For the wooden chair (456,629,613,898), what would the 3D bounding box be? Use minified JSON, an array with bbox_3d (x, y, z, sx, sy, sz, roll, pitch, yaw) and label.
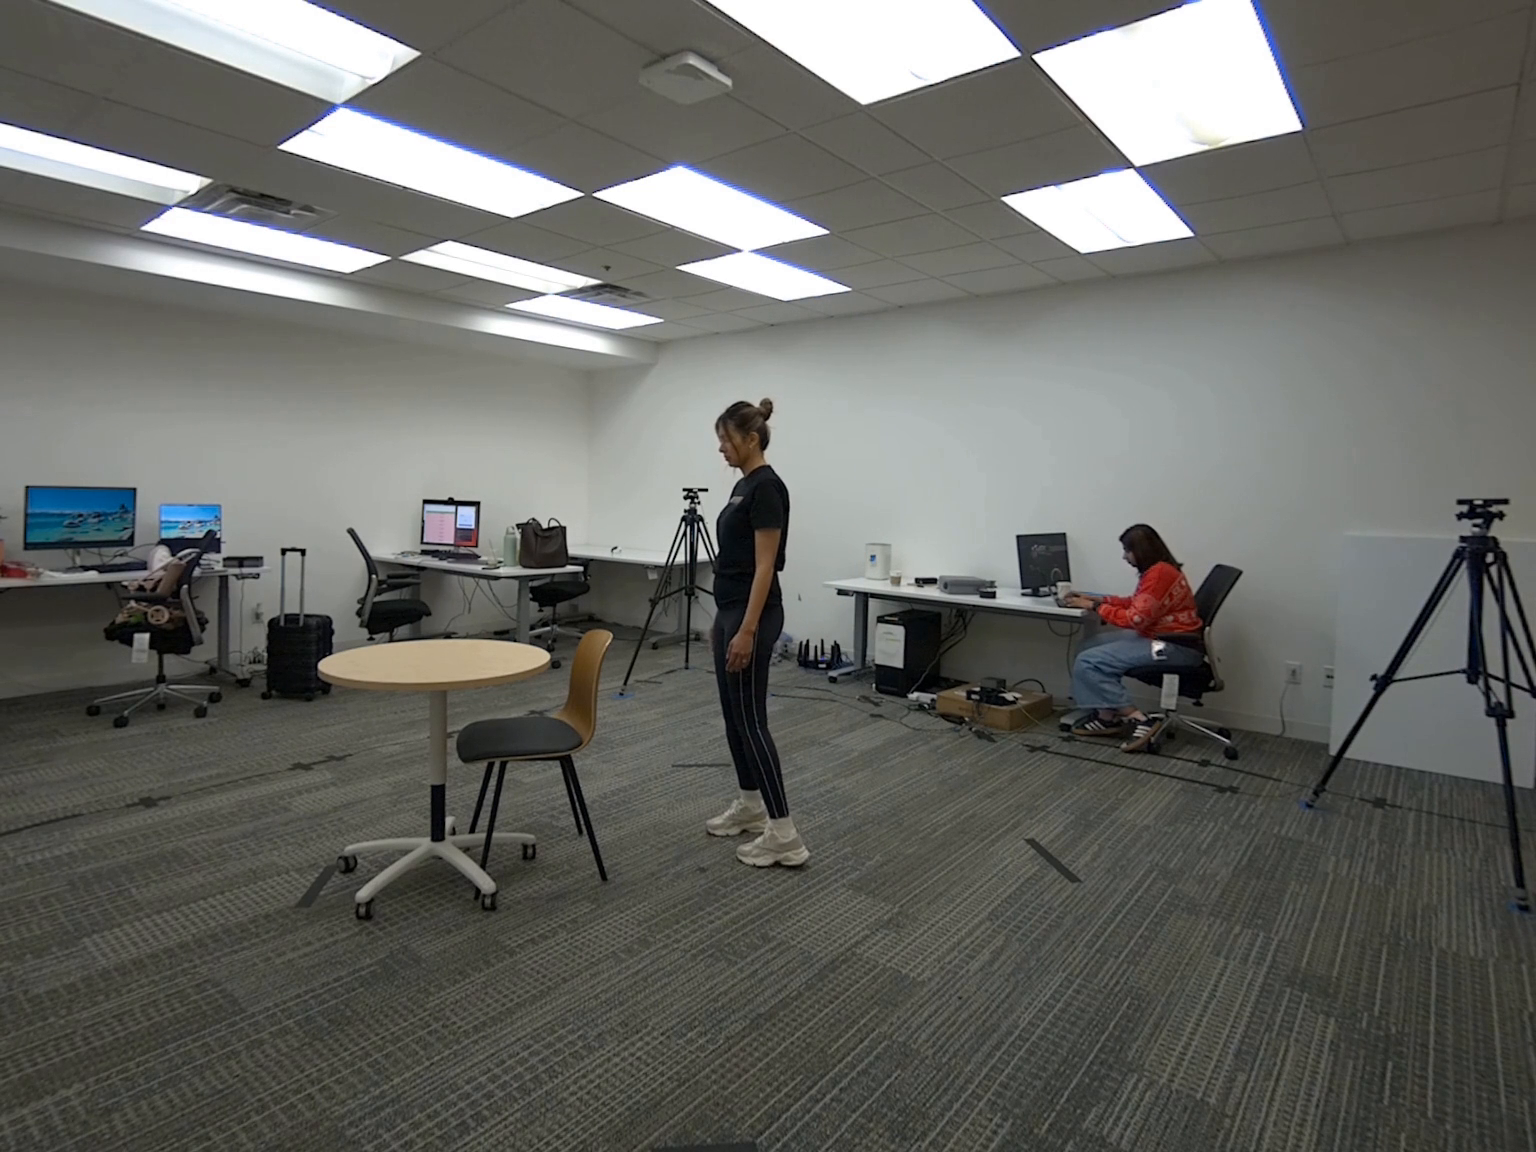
[{"bbox_3d":[-0.869,0.632,3.094,0.511,0.876,0.490,3,2,-23],"label":"wooden chair"}]
